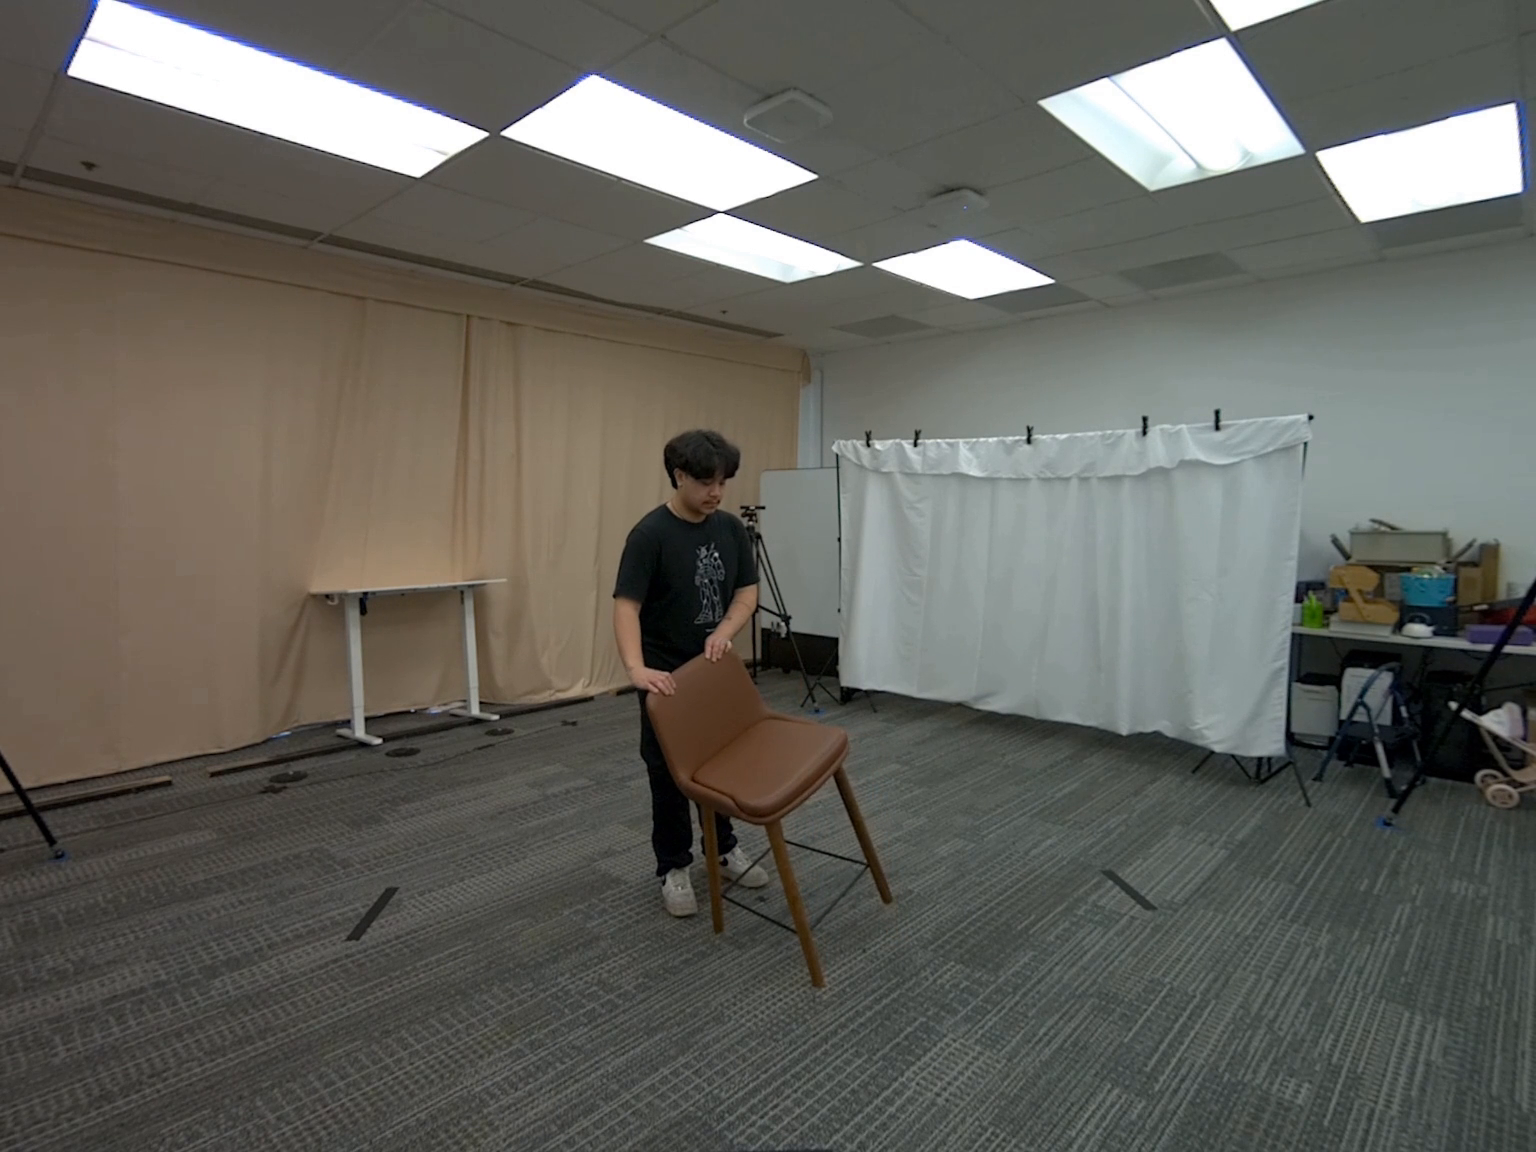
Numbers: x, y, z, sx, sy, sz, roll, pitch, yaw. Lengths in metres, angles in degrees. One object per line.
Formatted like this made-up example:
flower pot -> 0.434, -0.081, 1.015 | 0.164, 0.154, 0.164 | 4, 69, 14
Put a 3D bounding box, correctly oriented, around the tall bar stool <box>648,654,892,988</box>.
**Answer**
tall bar stool -> 0.006, 0.703, 2.608 | 0.482, 0.879, 0.448 | -1, 20, 44
